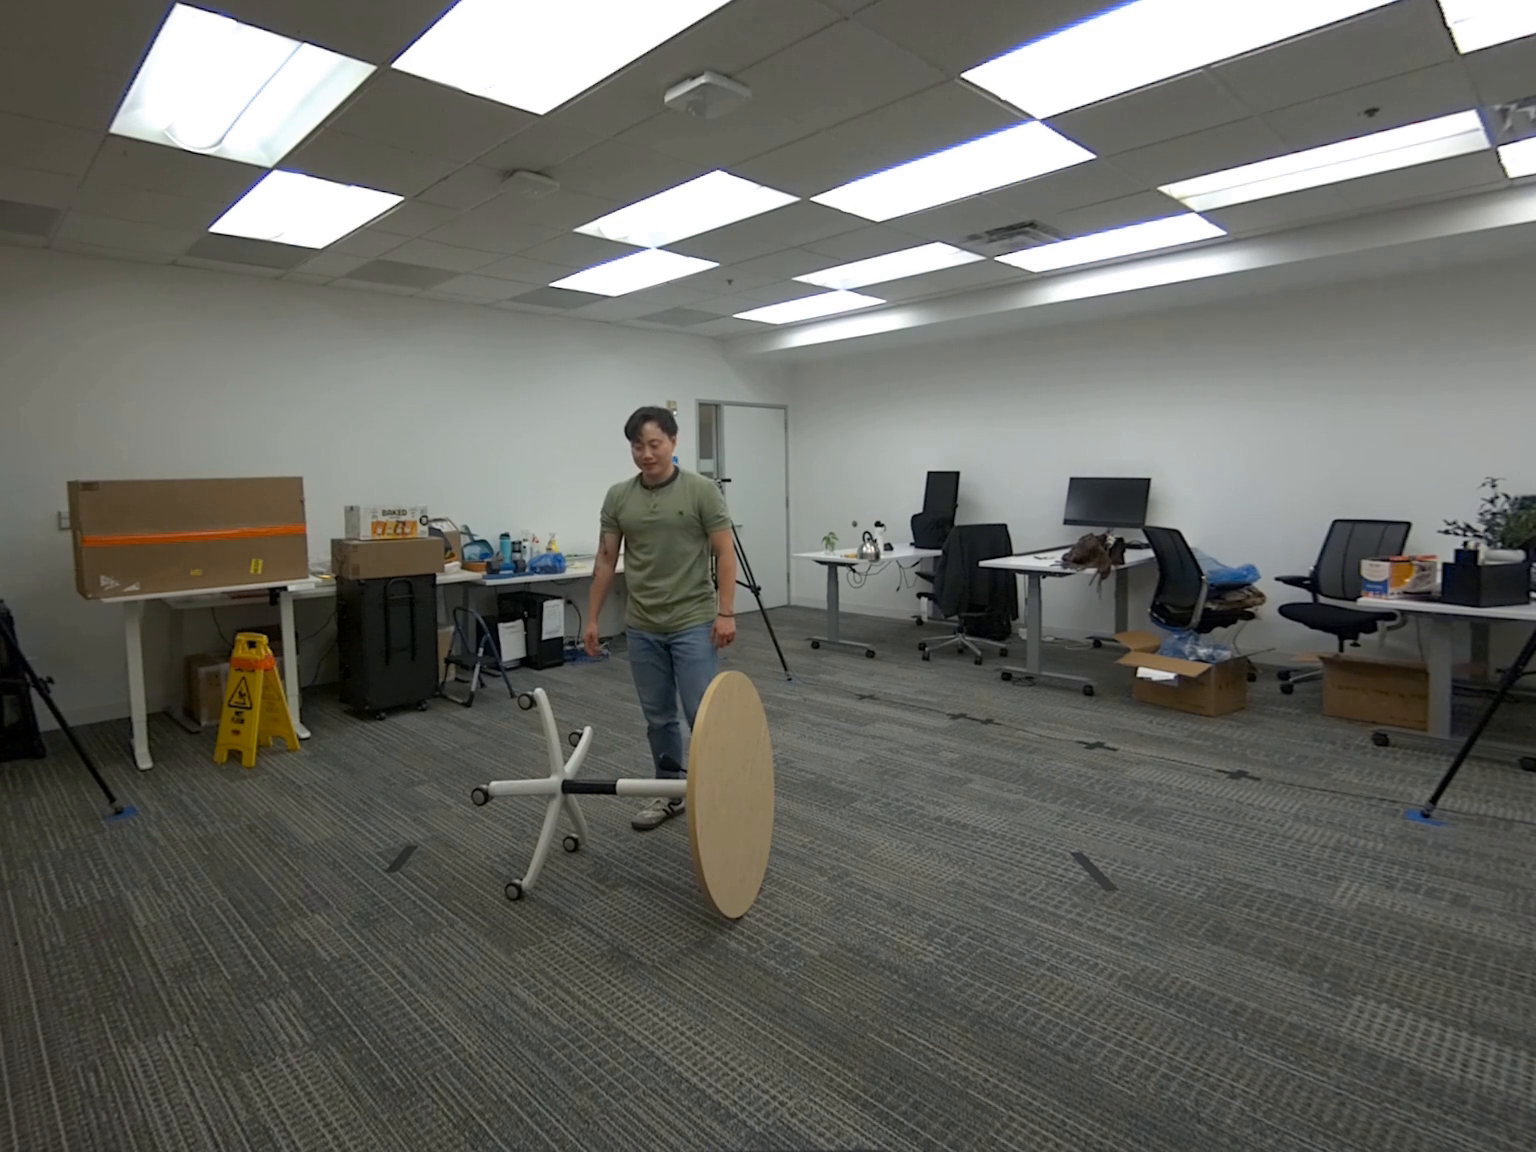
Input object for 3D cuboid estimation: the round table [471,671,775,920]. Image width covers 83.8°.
[{"bbox_3d":[-0.470,0.730,2.921,0.807,0.762,0.754,-5,3,18],"label":"round table"}]
